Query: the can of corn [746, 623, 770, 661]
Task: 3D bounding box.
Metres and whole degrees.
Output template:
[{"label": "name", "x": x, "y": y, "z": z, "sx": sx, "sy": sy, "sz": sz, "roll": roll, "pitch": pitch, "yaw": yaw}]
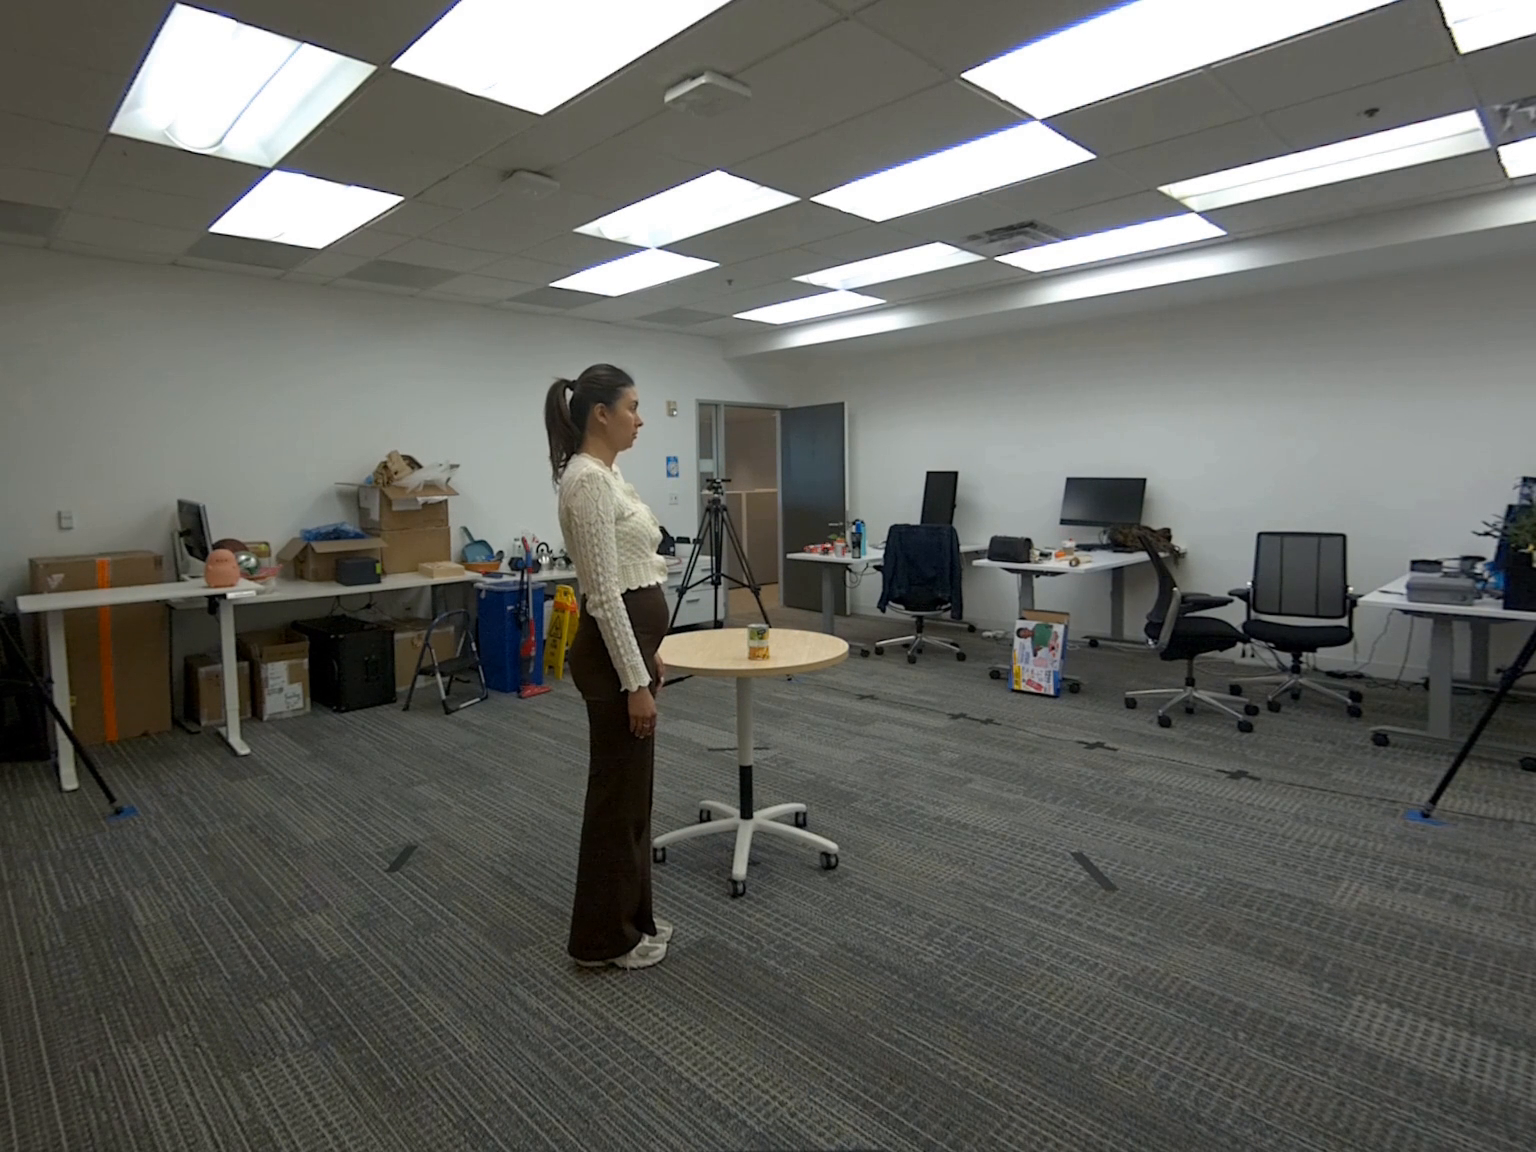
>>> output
[{"label": "can of corn", "x": -0.024, "y": 0.222, "z": 2.910, "sx": 0.074, "sy": 0.110, "sz": 0.074, "roll": 2, "pitch": 5, "yaw": -2}]
